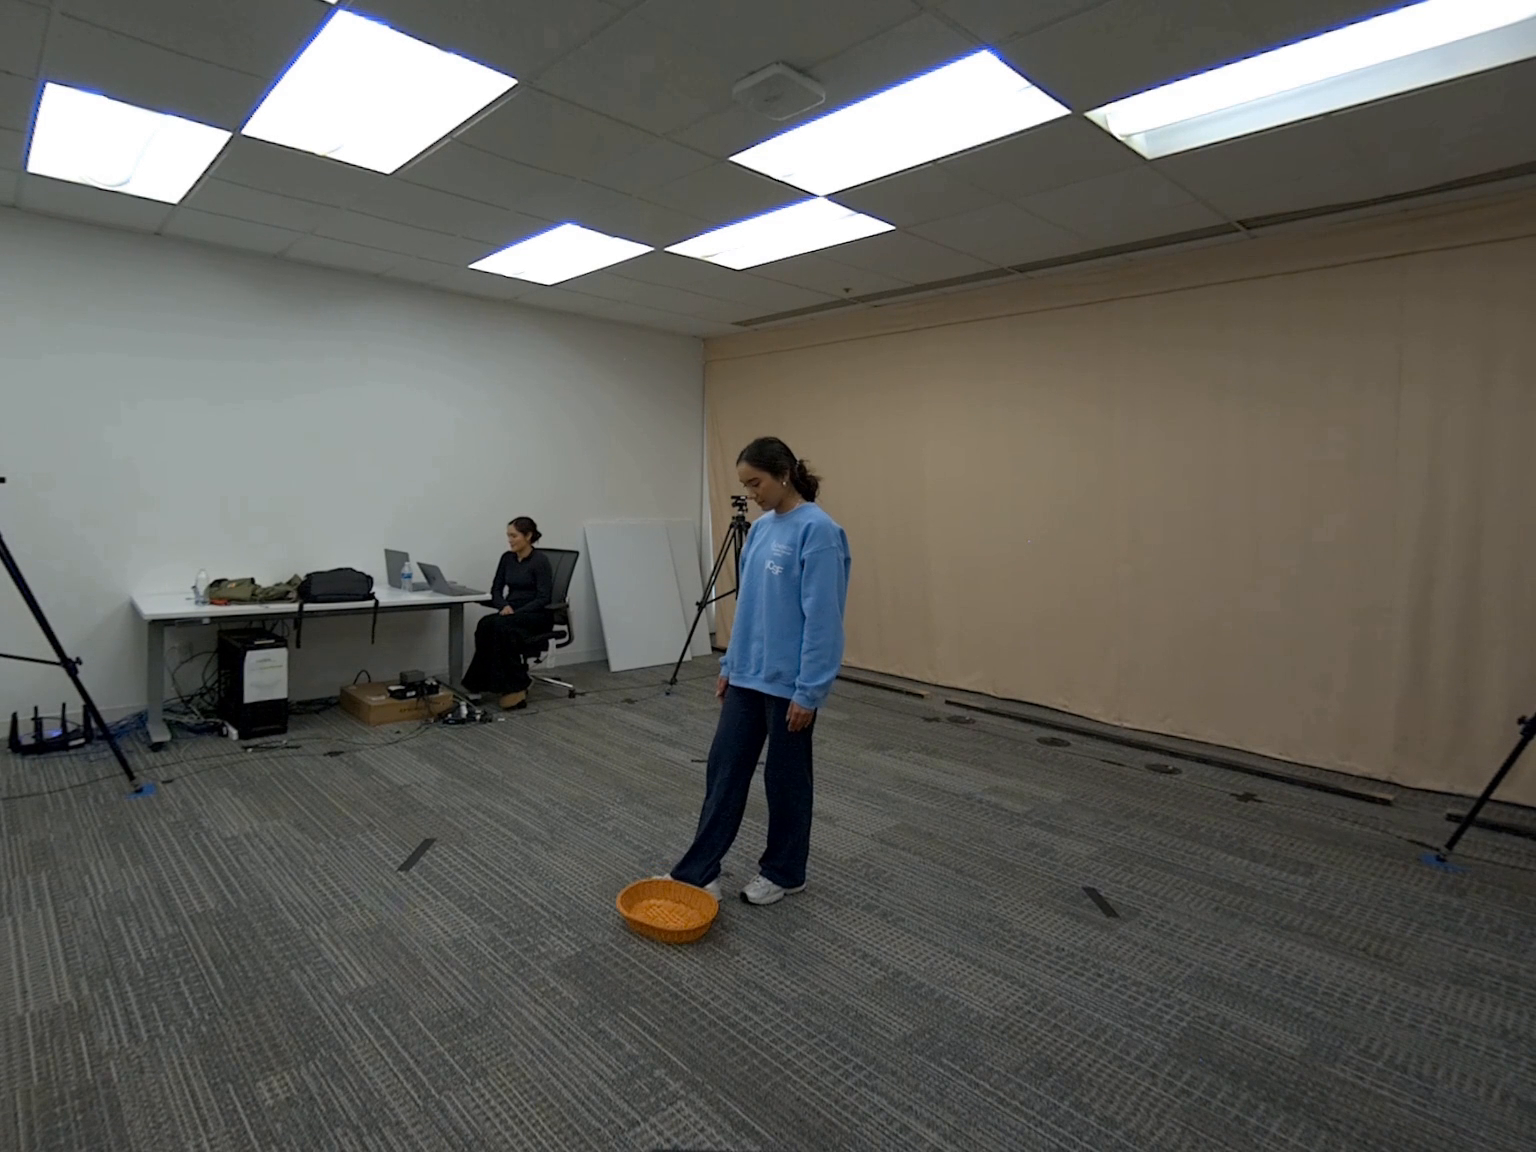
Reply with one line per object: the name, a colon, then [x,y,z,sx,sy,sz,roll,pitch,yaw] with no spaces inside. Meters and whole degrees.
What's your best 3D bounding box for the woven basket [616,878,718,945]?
woven basket: [-0.331,1.089,2.722,0.359,0.073,0.248,6,12,33]
